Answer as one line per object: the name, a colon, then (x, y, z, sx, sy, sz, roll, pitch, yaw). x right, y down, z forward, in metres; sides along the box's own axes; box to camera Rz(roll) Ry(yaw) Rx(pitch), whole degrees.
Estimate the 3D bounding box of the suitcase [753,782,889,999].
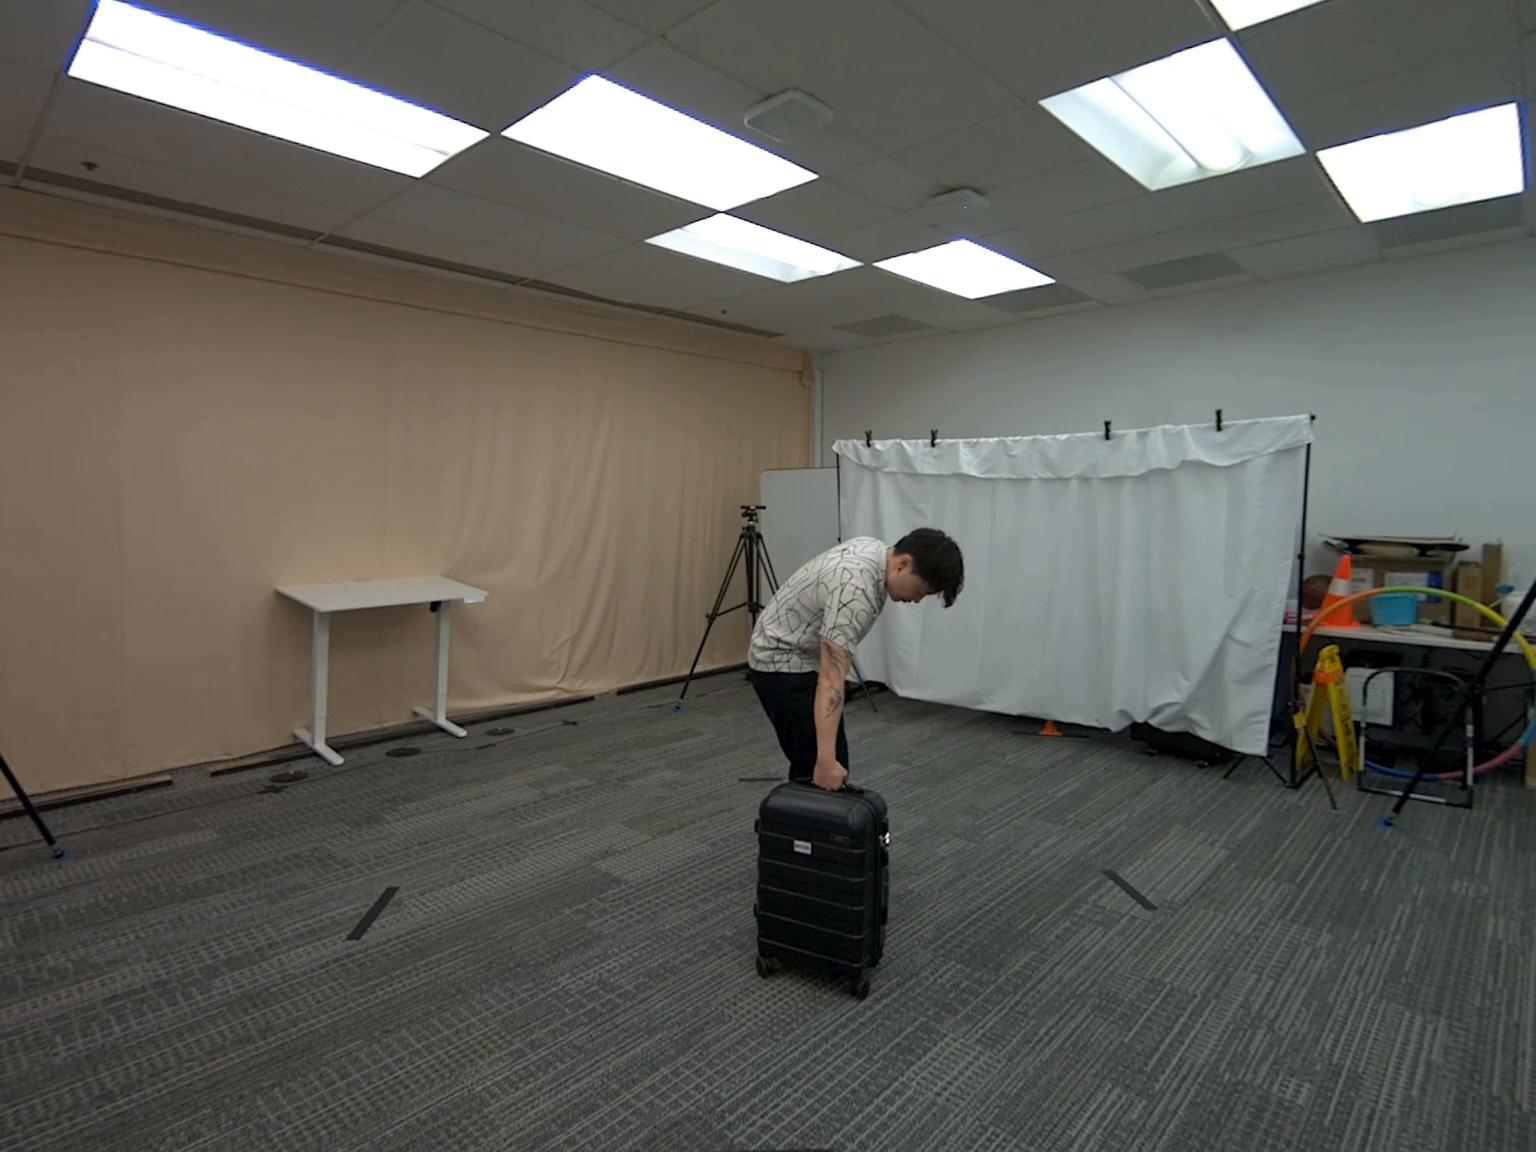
suitcase: (0.167, 0.901, 2.523, 0.386, 0.548, 0.242, 1, 2, 28)
